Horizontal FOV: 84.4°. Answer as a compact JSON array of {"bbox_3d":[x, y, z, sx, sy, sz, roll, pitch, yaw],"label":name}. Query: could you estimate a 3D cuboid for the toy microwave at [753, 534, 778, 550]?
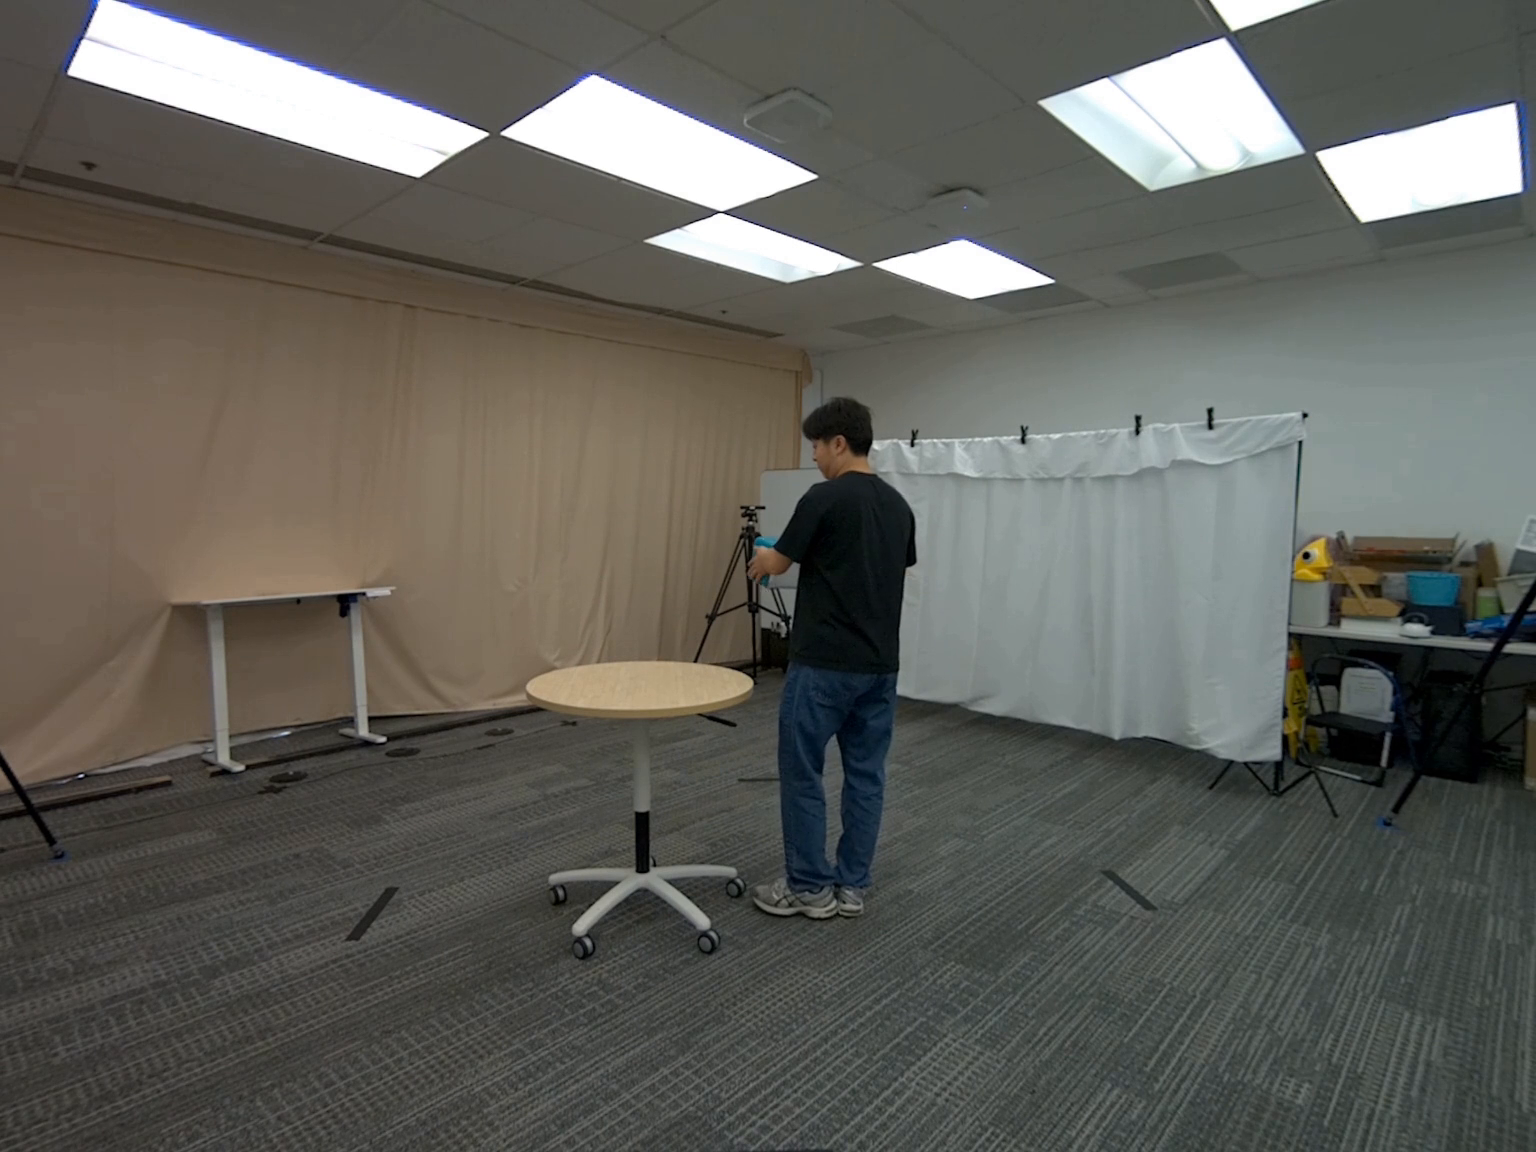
[{"bbox_3d":[0.092,-0.043,3.274,0.278,0.183,0.157,3,12,-28],"label":"toy microwave"}]
